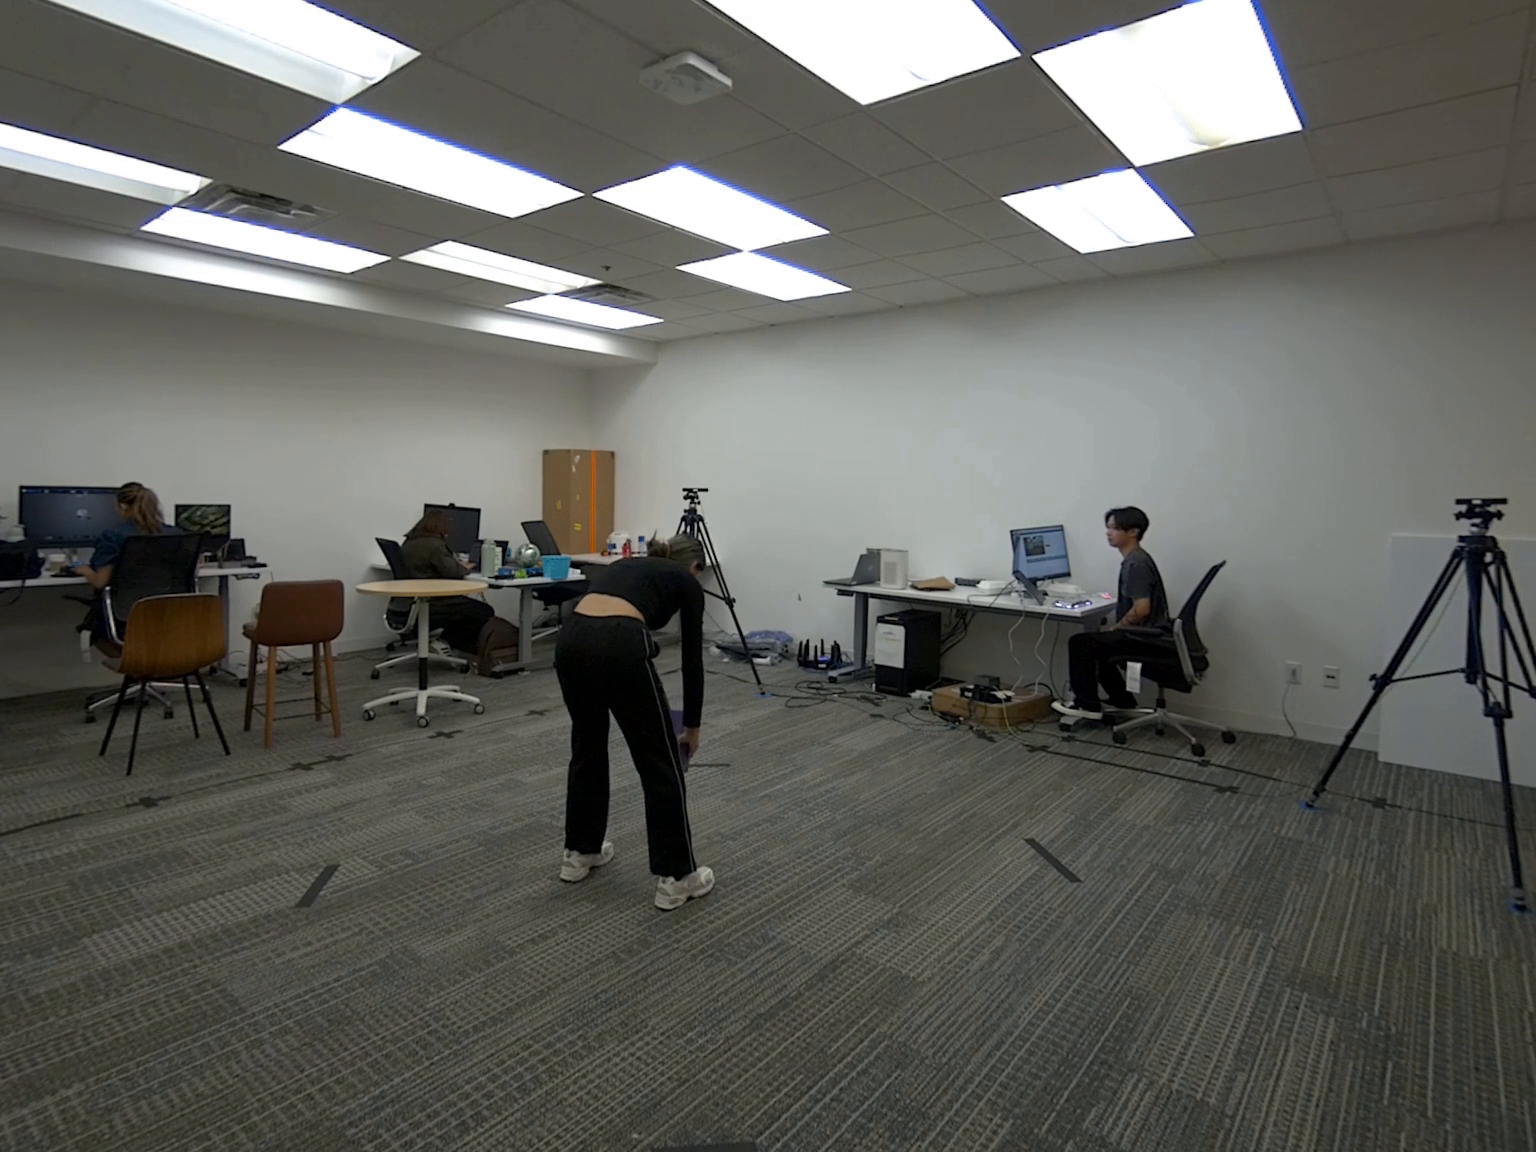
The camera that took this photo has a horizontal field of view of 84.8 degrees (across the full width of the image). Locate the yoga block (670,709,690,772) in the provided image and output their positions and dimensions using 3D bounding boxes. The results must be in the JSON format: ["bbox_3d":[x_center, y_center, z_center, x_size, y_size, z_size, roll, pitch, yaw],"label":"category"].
[{"bbox_3d":[-0.379,0.616,3.230,0.153,0.232,0.073,-4,-16,31],"label":"yoga block"}]
